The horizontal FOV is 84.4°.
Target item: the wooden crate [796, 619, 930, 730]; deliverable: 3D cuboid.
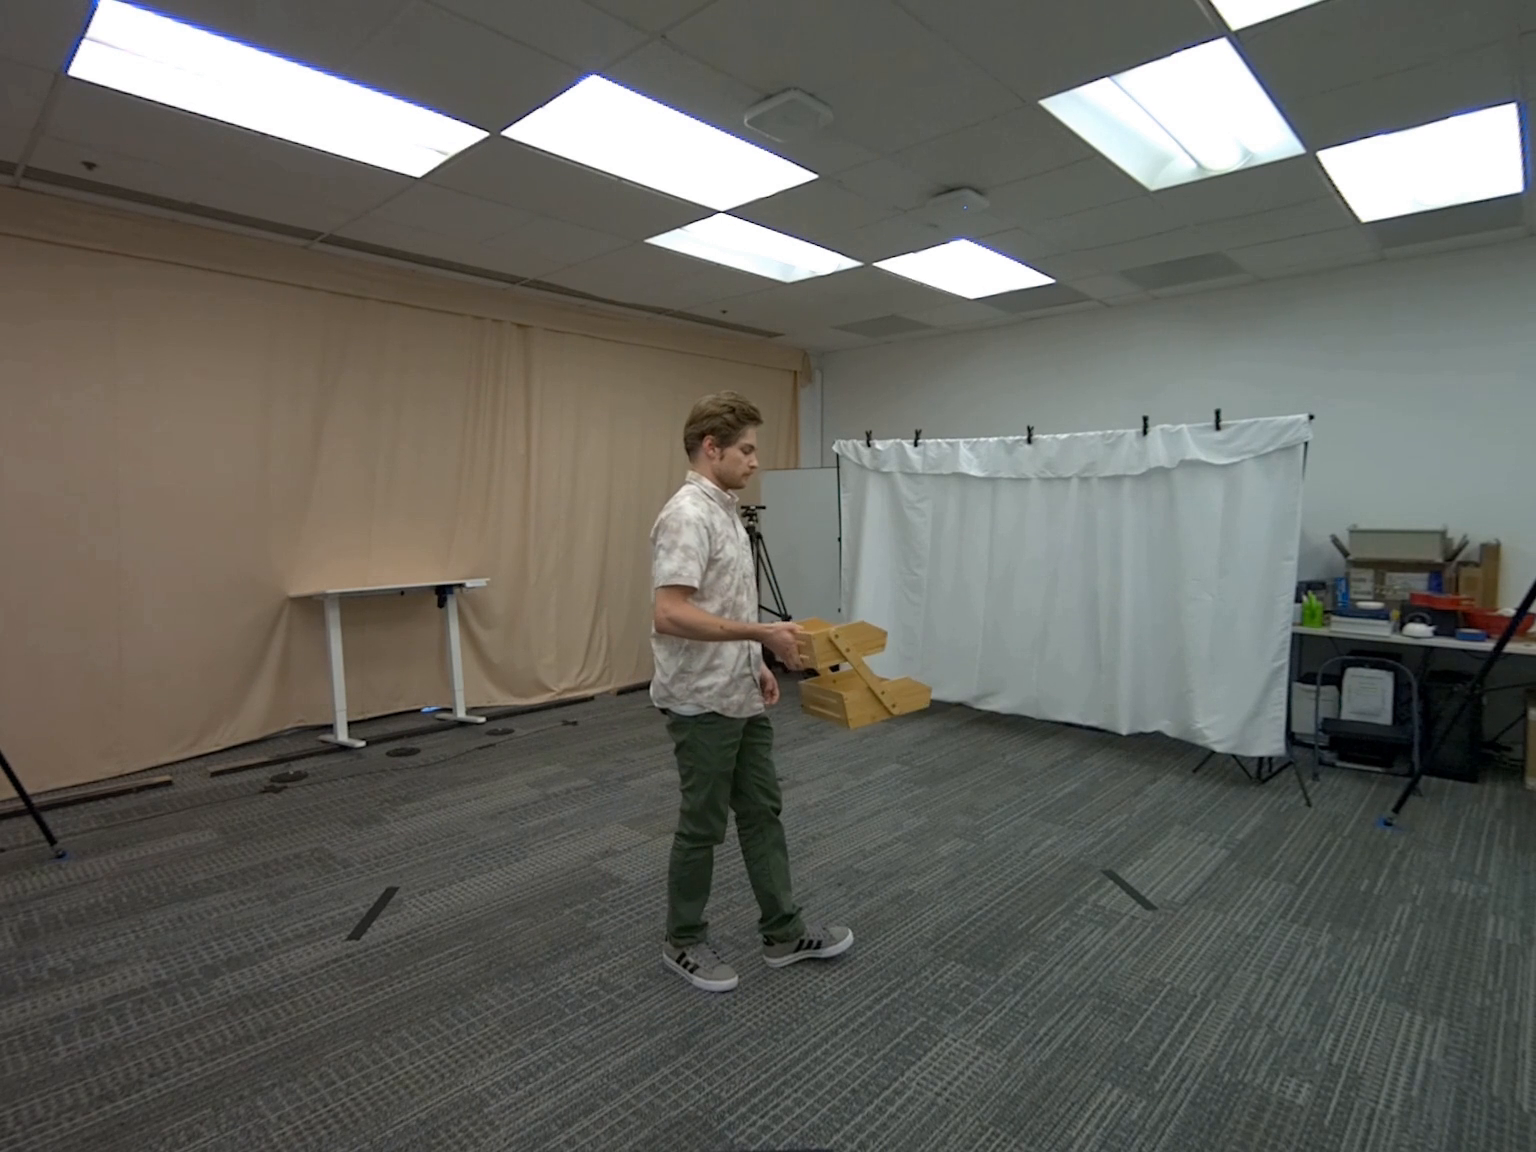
[{"bbox_3d":[0.219,0.242,2.267,0.297,0.273,0.330,-13,2,-18],"label":"wooden crate"}]
